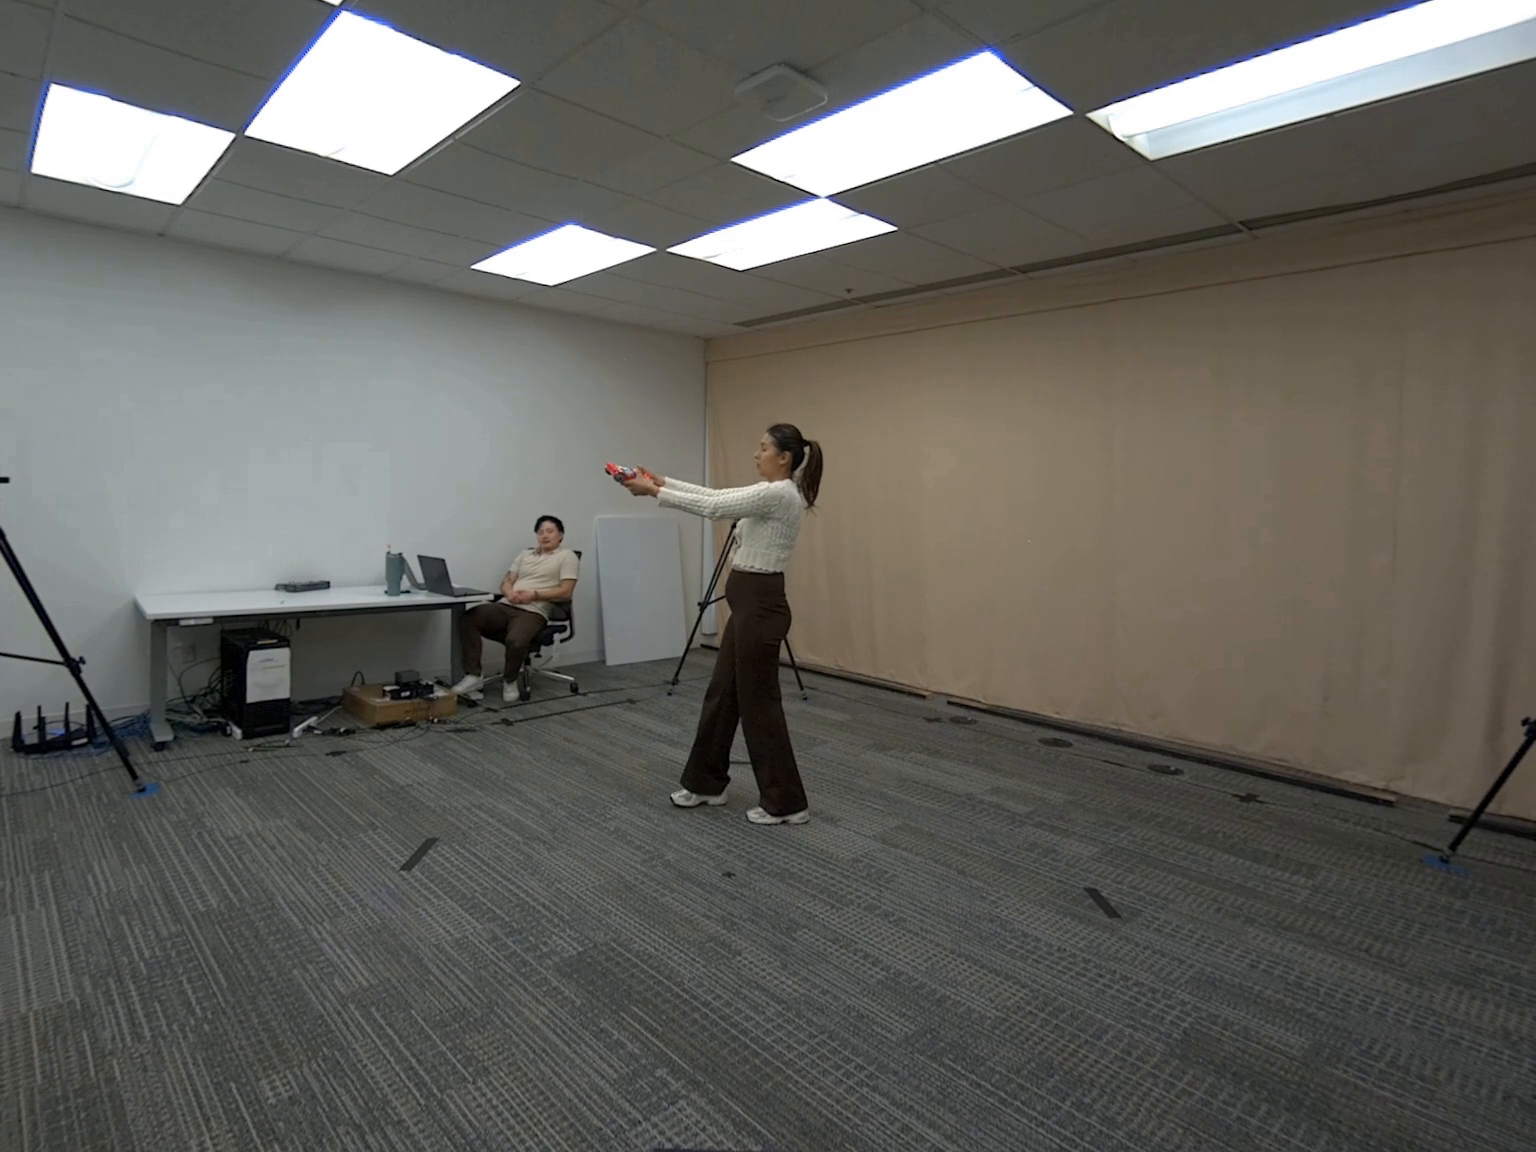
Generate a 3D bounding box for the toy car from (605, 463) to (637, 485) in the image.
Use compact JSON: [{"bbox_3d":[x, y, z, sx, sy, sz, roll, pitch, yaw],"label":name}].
[{"bbox_3d":[-0.593,-0.415,3.617,0.248,0.083,0.134,12,19,-39],"label":"toy car"}]
